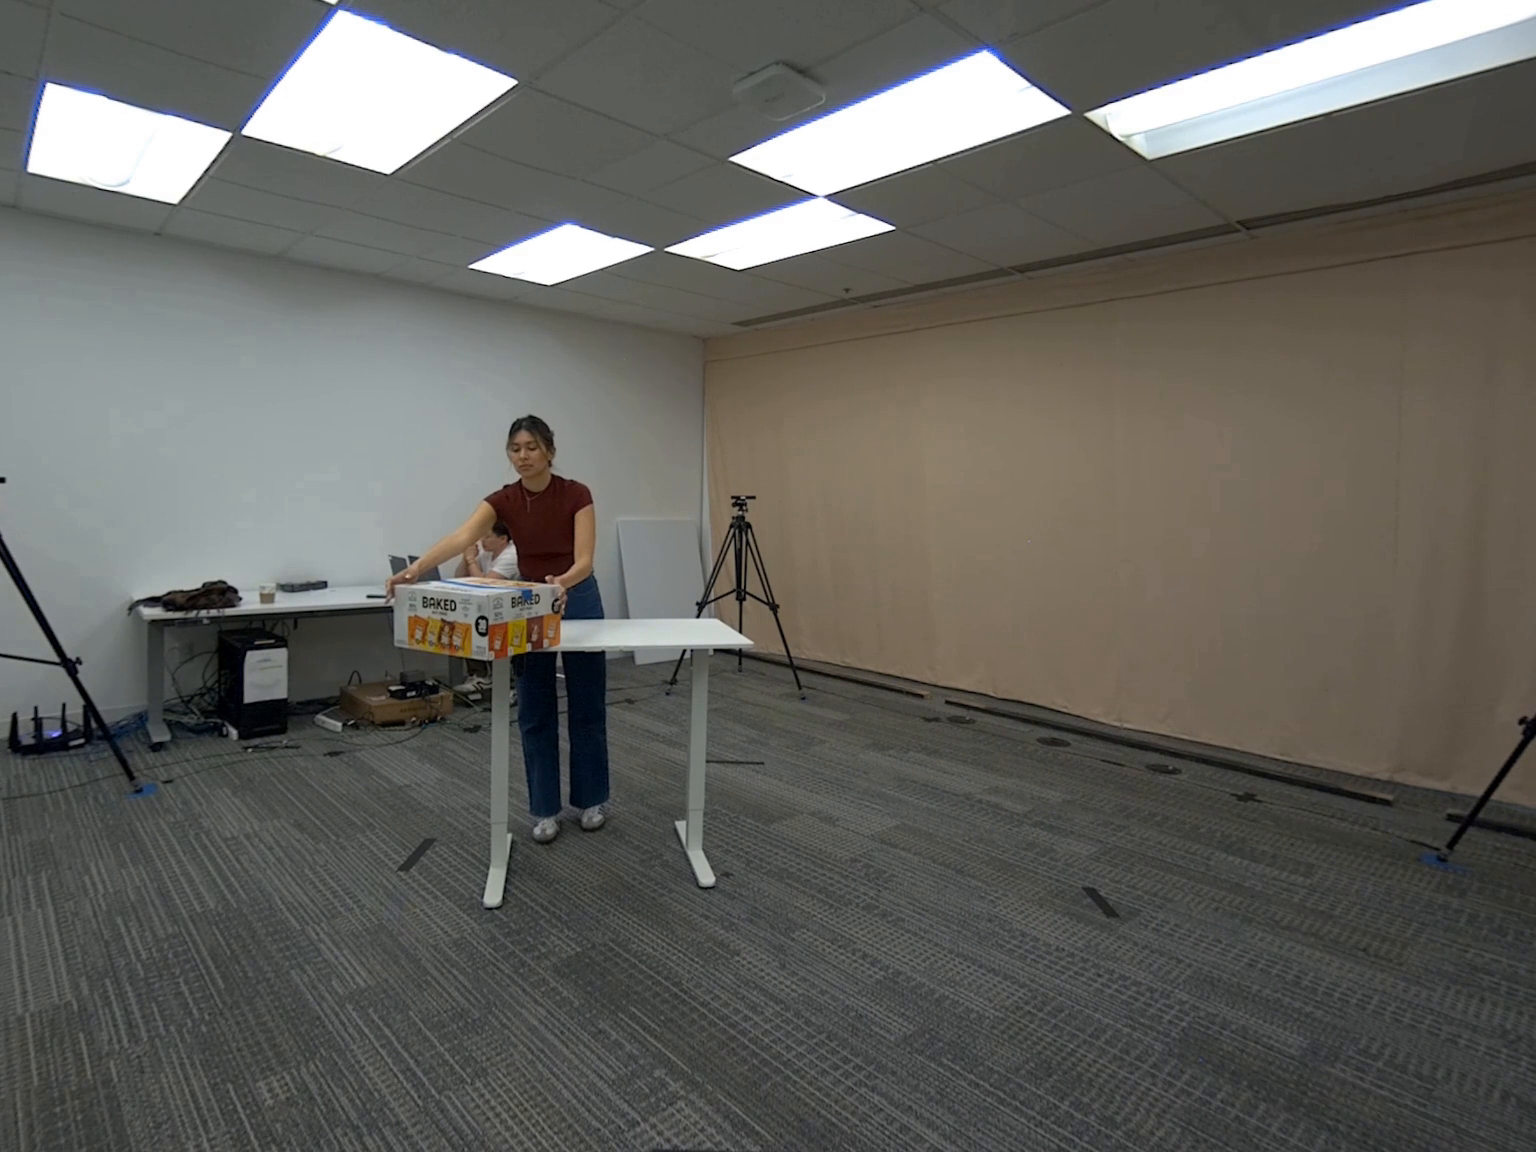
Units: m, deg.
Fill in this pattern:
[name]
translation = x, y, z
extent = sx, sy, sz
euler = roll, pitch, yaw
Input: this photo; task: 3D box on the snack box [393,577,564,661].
[snack box]
translation = -0.957, 0.132, 2.775
extent = 0.413, 0.205, 0.334
euler = 4, 5, 27
